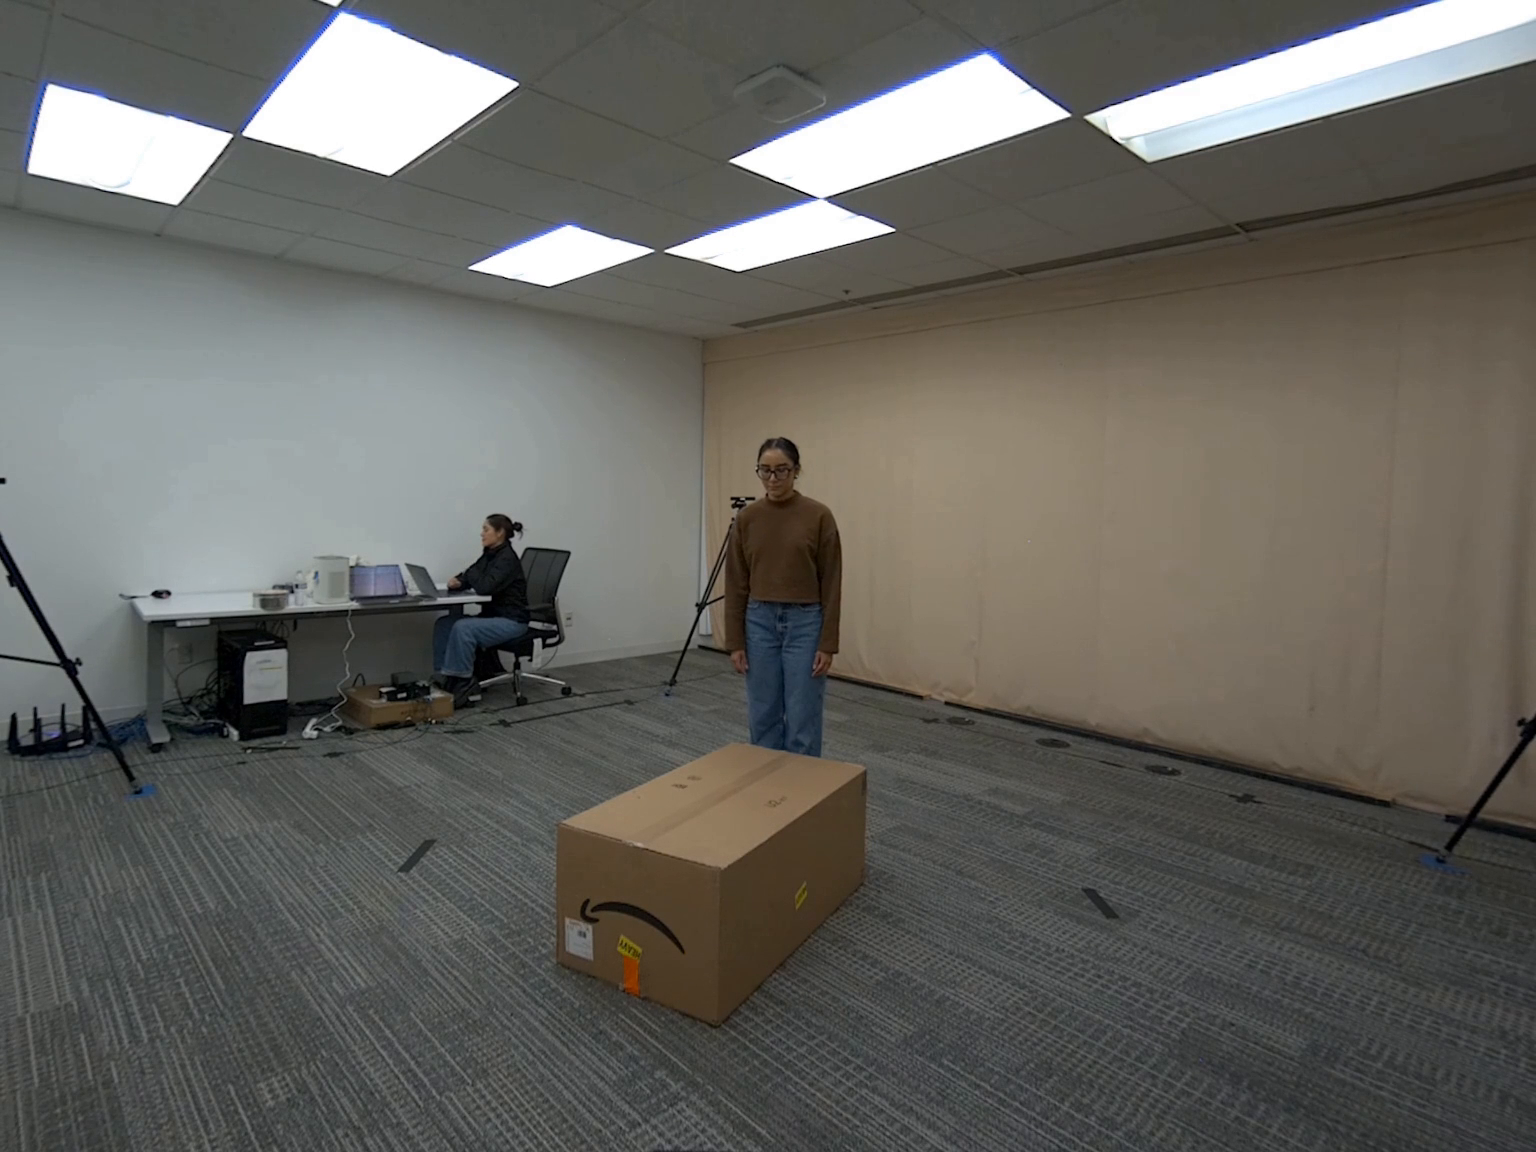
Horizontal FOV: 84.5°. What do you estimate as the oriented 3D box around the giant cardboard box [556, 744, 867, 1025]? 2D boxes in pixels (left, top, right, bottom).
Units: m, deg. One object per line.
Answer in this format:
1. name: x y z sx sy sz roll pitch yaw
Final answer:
1. giant cardboard box: -0.139 0.926 2.772 0.597 0.445 1.008 5 6 29
